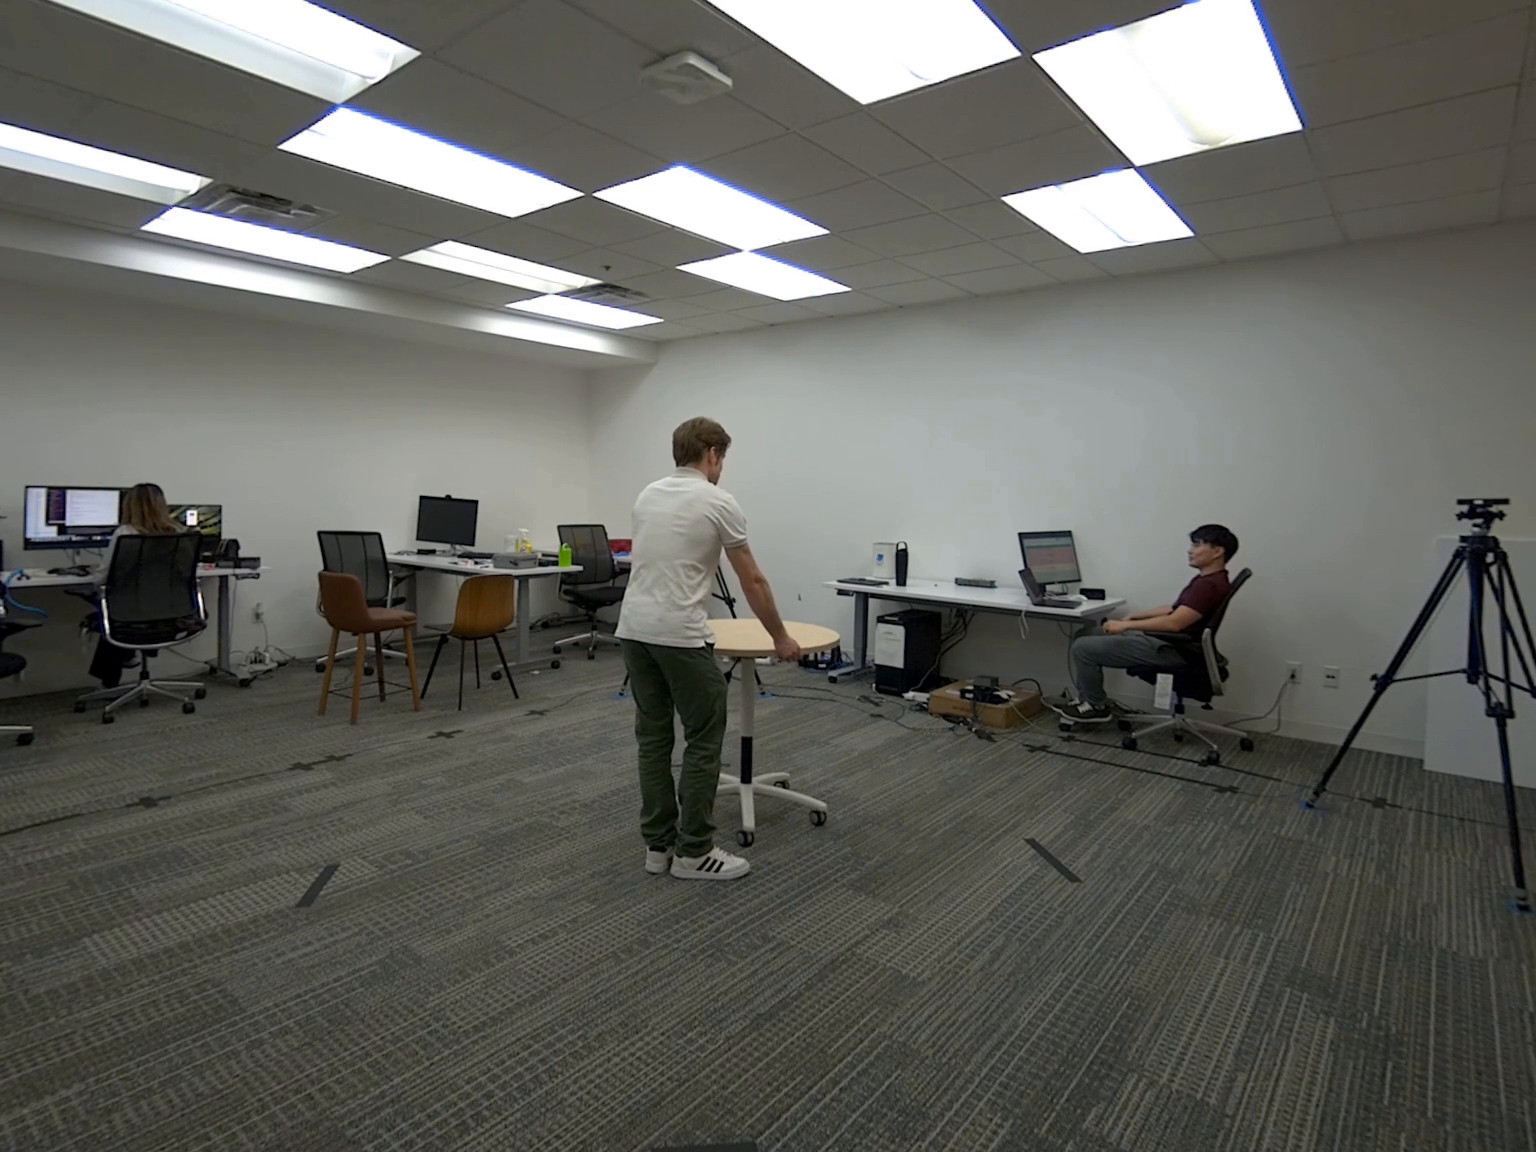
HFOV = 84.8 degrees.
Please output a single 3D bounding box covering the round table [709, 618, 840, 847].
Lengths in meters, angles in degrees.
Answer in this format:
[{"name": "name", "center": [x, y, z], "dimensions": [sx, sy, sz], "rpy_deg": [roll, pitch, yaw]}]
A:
[{"name": "round table", "center": [-0.094, 0.632, 3.623], "dimensions": [0.763, 0.791, 0.768], "rpy_deg": [1, 4, -2]}]
